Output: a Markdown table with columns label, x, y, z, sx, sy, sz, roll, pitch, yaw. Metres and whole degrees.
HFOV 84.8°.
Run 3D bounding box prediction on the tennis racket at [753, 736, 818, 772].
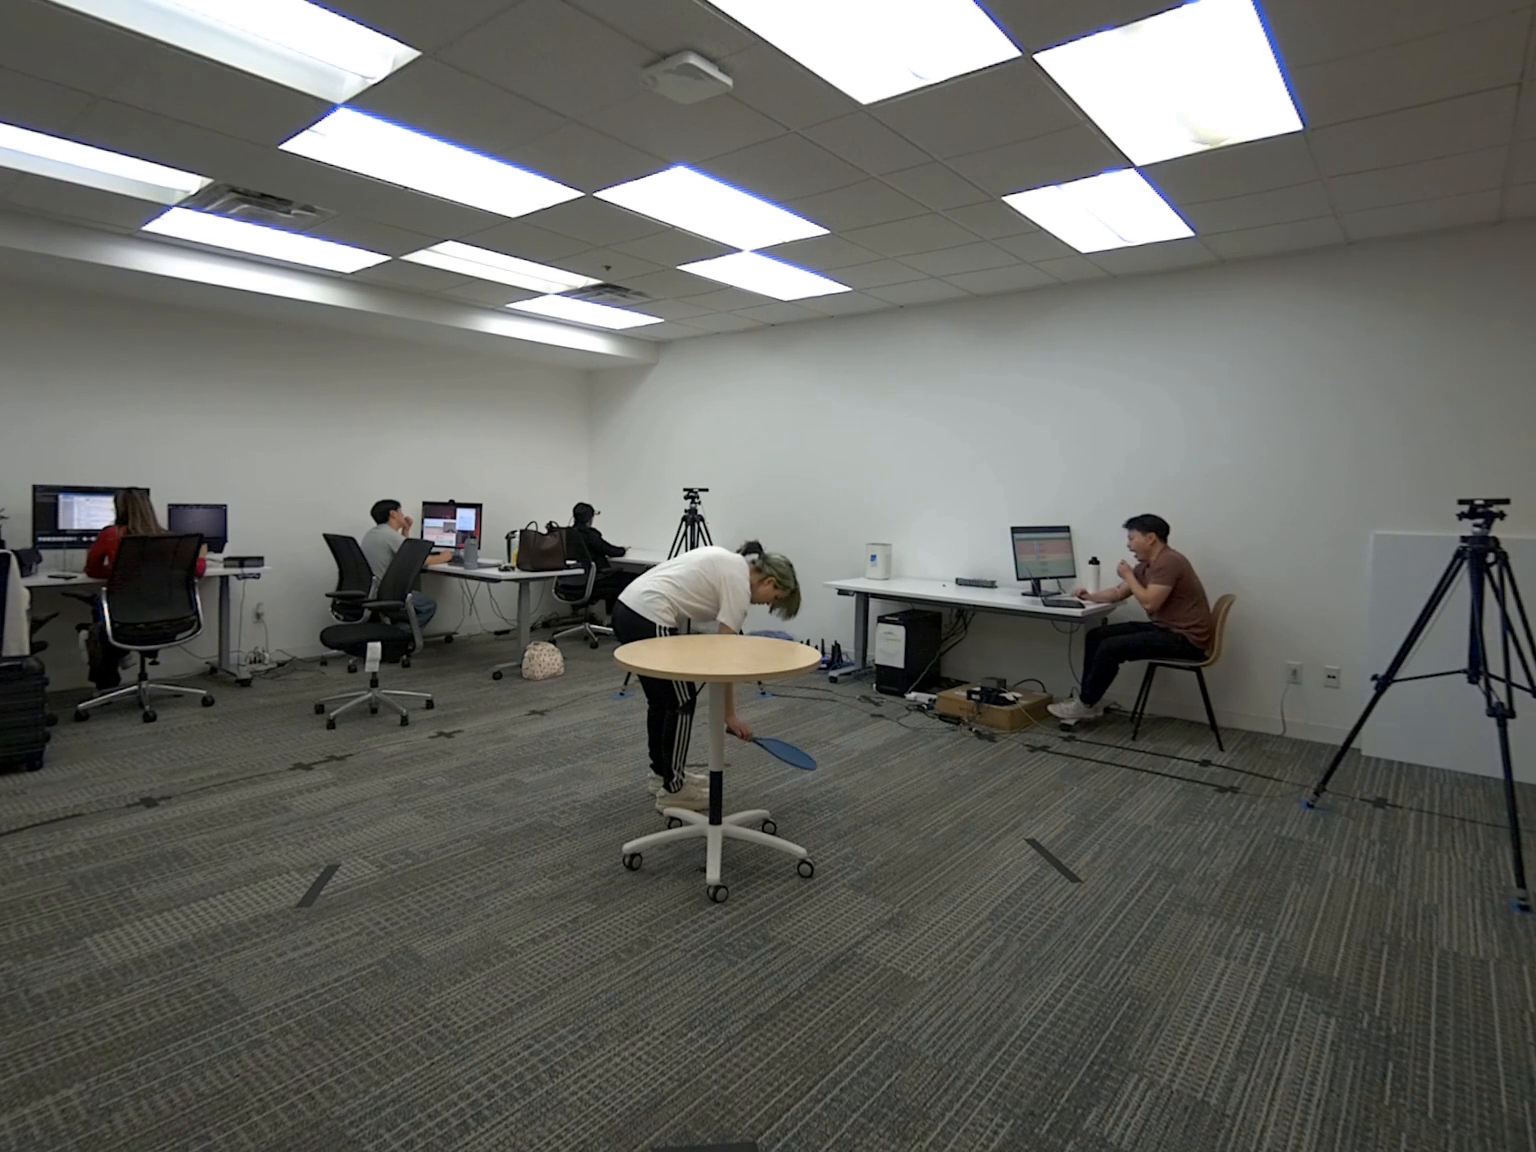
| label | x | y | z | sx | sy | sz | roll | pitch | yaw |
| --- | --- | --- | --- | --- | --- | --- | --- | --- | --- |
| tennis racket | 0.006 | 0.723 | 3.668 | 0.429 | 0.031 | 0.216 | 24 | 9 | -7 |
